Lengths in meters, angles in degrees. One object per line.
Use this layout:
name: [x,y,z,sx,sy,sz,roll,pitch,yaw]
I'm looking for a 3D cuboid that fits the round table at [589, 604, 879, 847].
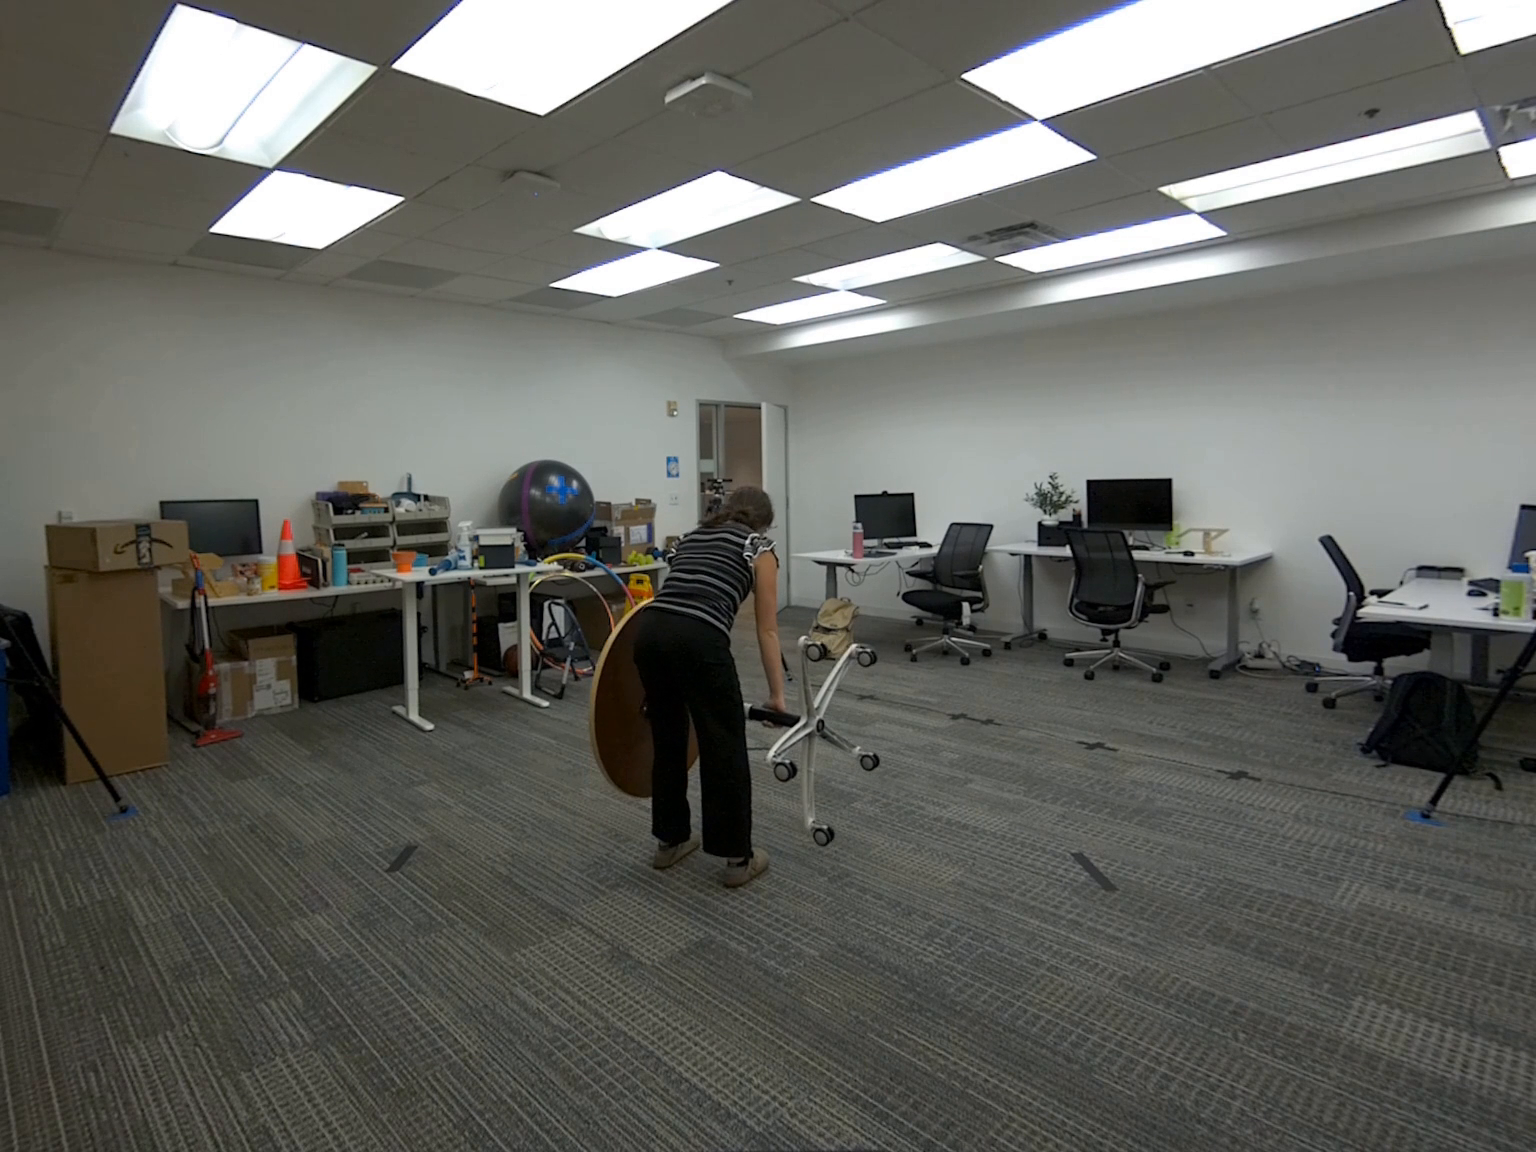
round table: [-0.089,0.499,3.072,0.817,0.760,0.746,4,7,33]
